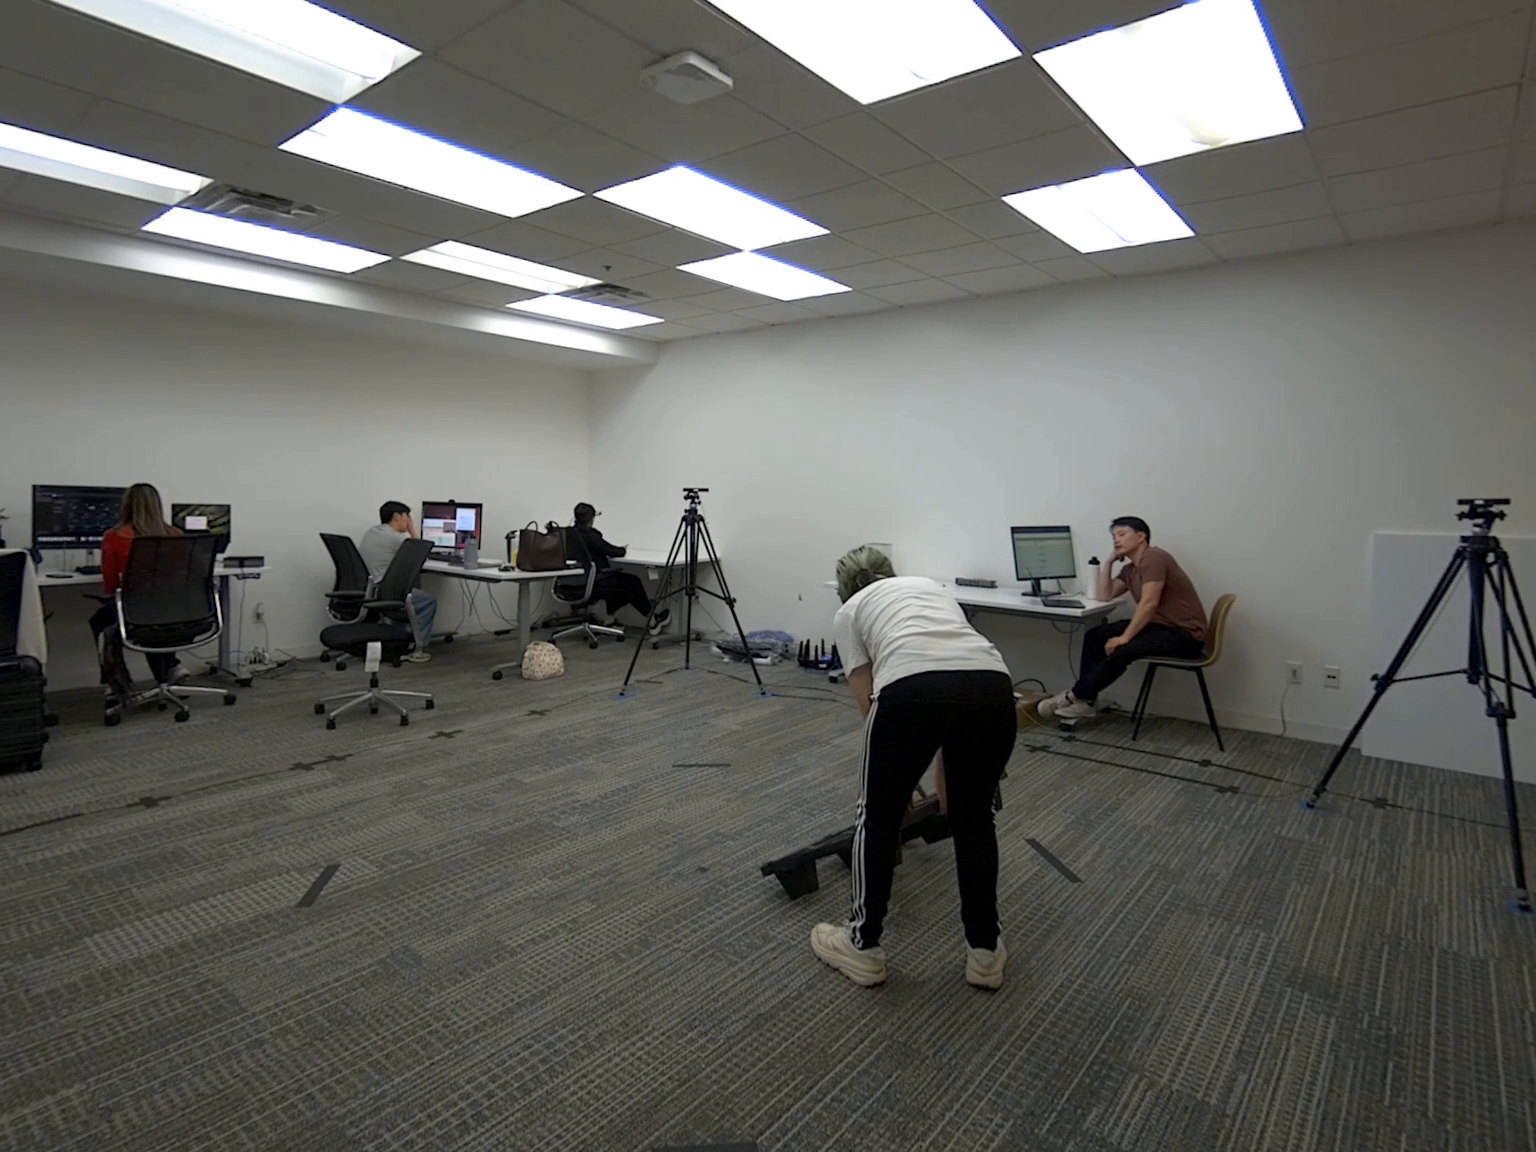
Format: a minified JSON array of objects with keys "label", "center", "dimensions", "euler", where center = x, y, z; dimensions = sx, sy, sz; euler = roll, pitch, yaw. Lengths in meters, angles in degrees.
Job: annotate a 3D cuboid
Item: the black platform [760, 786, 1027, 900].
[{"label":"black platform","center":[0.435,0.920,3.030],"dimensions":[0.781,0.146,0.610],"euler":[-4,-24,-47]}]
